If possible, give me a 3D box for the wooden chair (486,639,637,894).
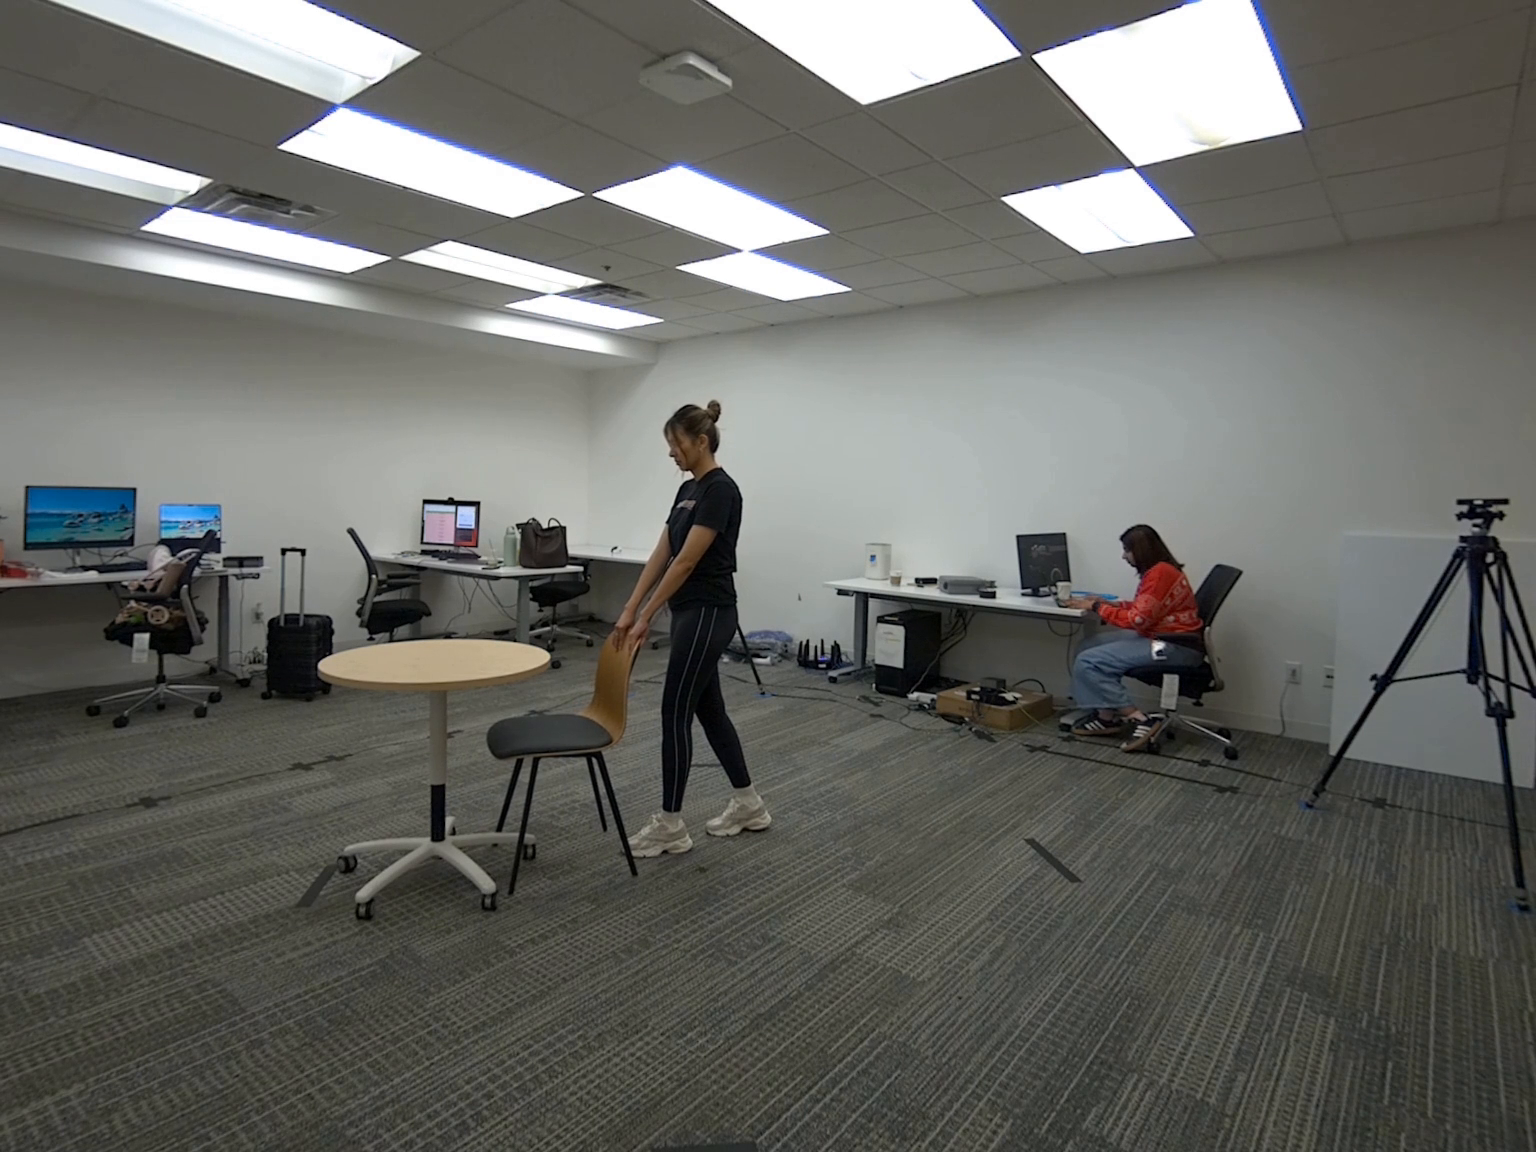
[{"bbox_3d":[-0.771,0.628,3.140,0.511,0.876,0.490,4,2,-24],"label":"wooden chair"}]
